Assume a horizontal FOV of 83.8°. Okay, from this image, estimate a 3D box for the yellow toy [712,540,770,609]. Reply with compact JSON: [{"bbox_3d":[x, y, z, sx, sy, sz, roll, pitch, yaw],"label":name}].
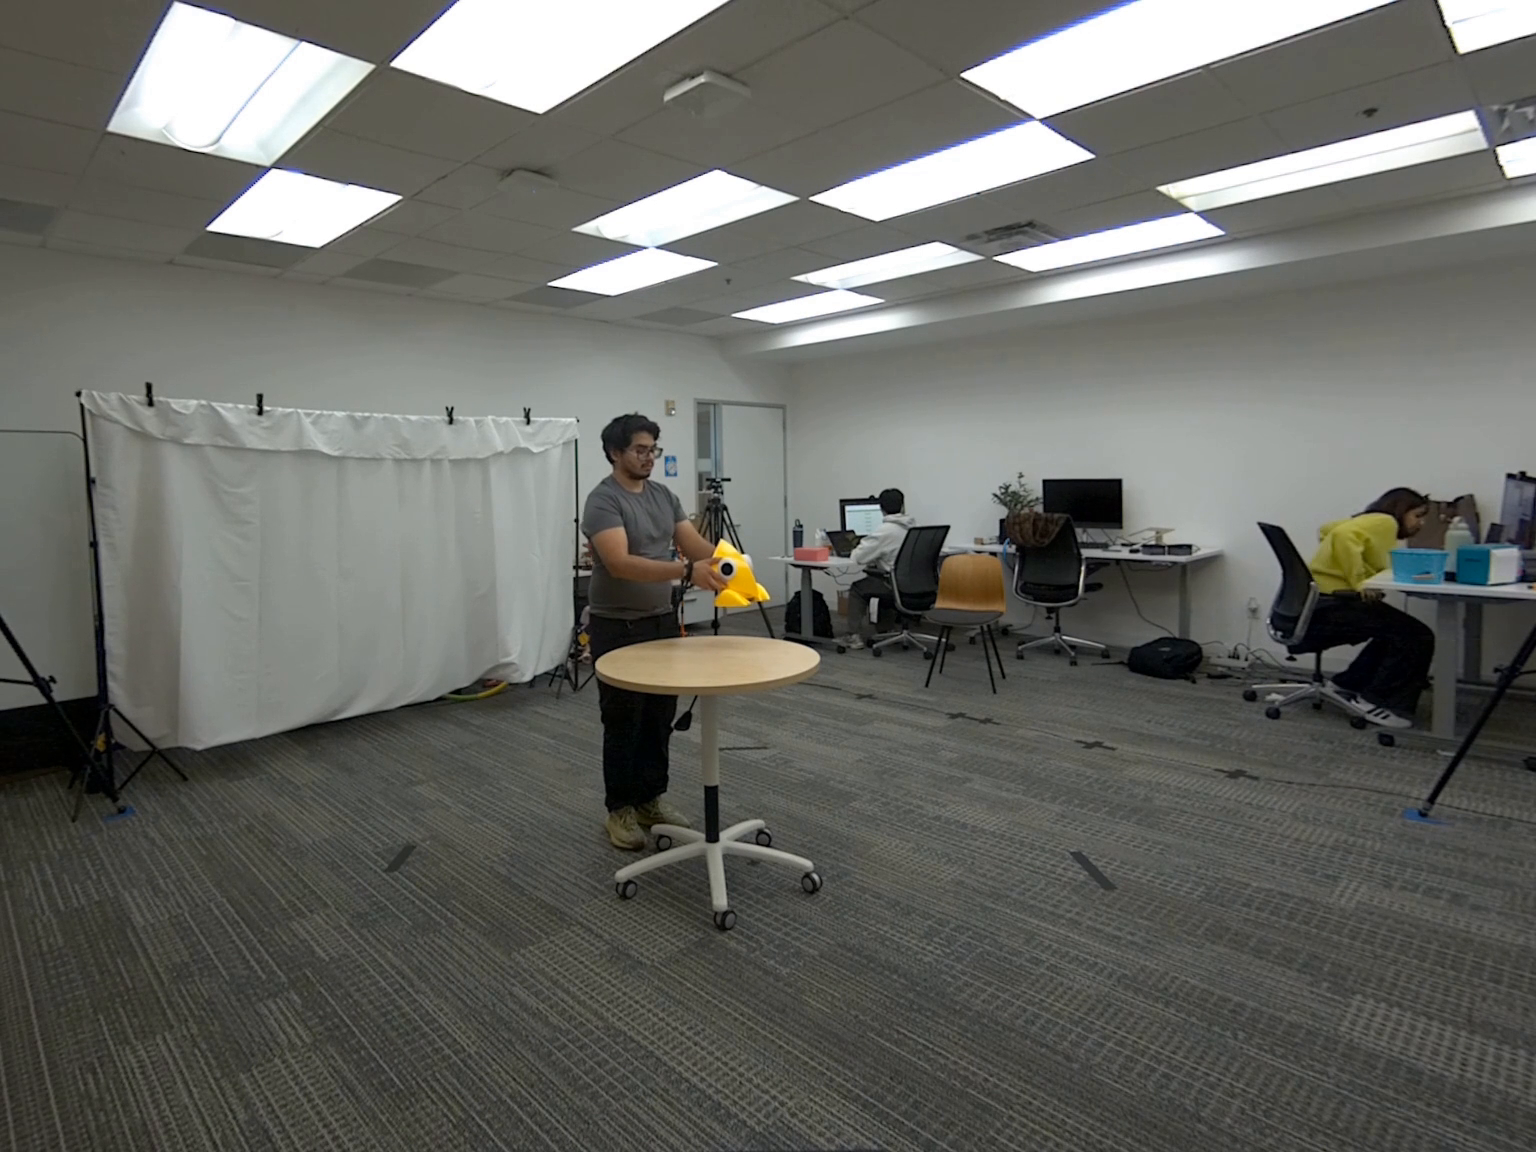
[{"bbox_3d":[-0.114,-0.019,3.093,0.199,0.230,0.200,0,6,42],"label":"yellow toy"}]
